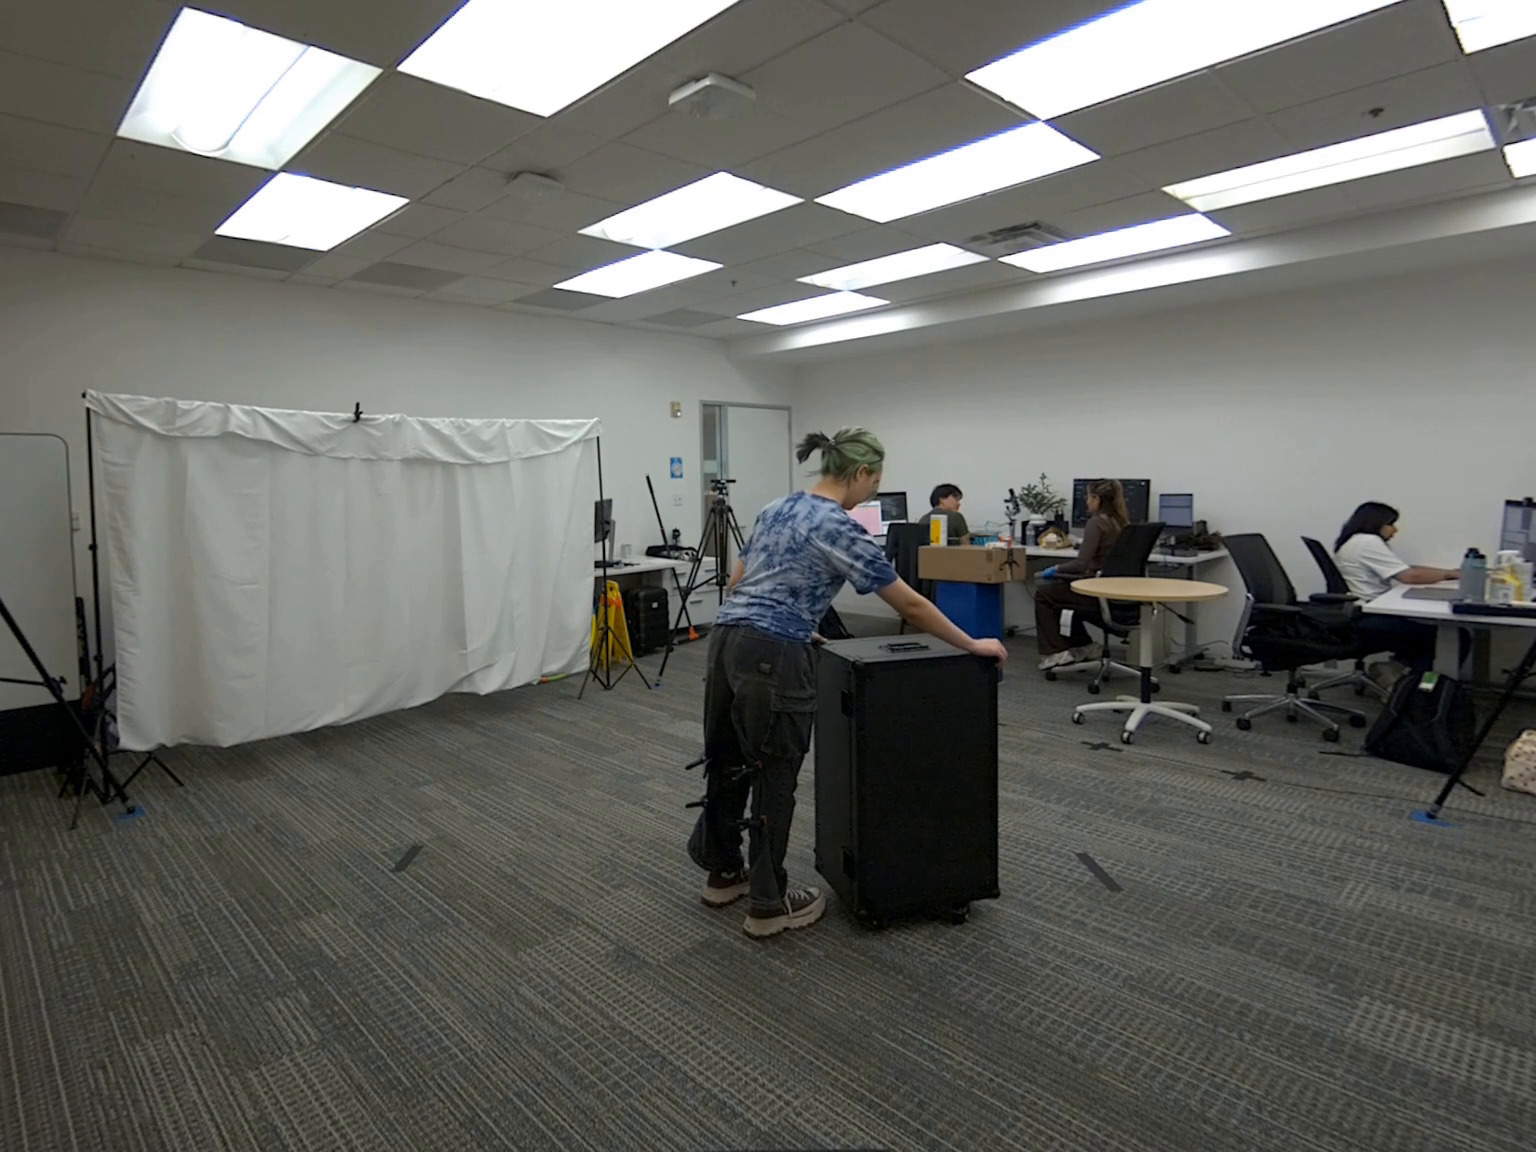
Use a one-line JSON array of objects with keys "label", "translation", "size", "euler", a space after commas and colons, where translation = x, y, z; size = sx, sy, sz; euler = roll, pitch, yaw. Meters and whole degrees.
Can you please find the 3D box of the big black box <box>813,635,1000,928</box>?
[{"label": "big black box", "translation": [0.434, 0.655, 2.782], "size": [0.514, 0.859, 0.403], "euler": [-3, 4, -15]}]
